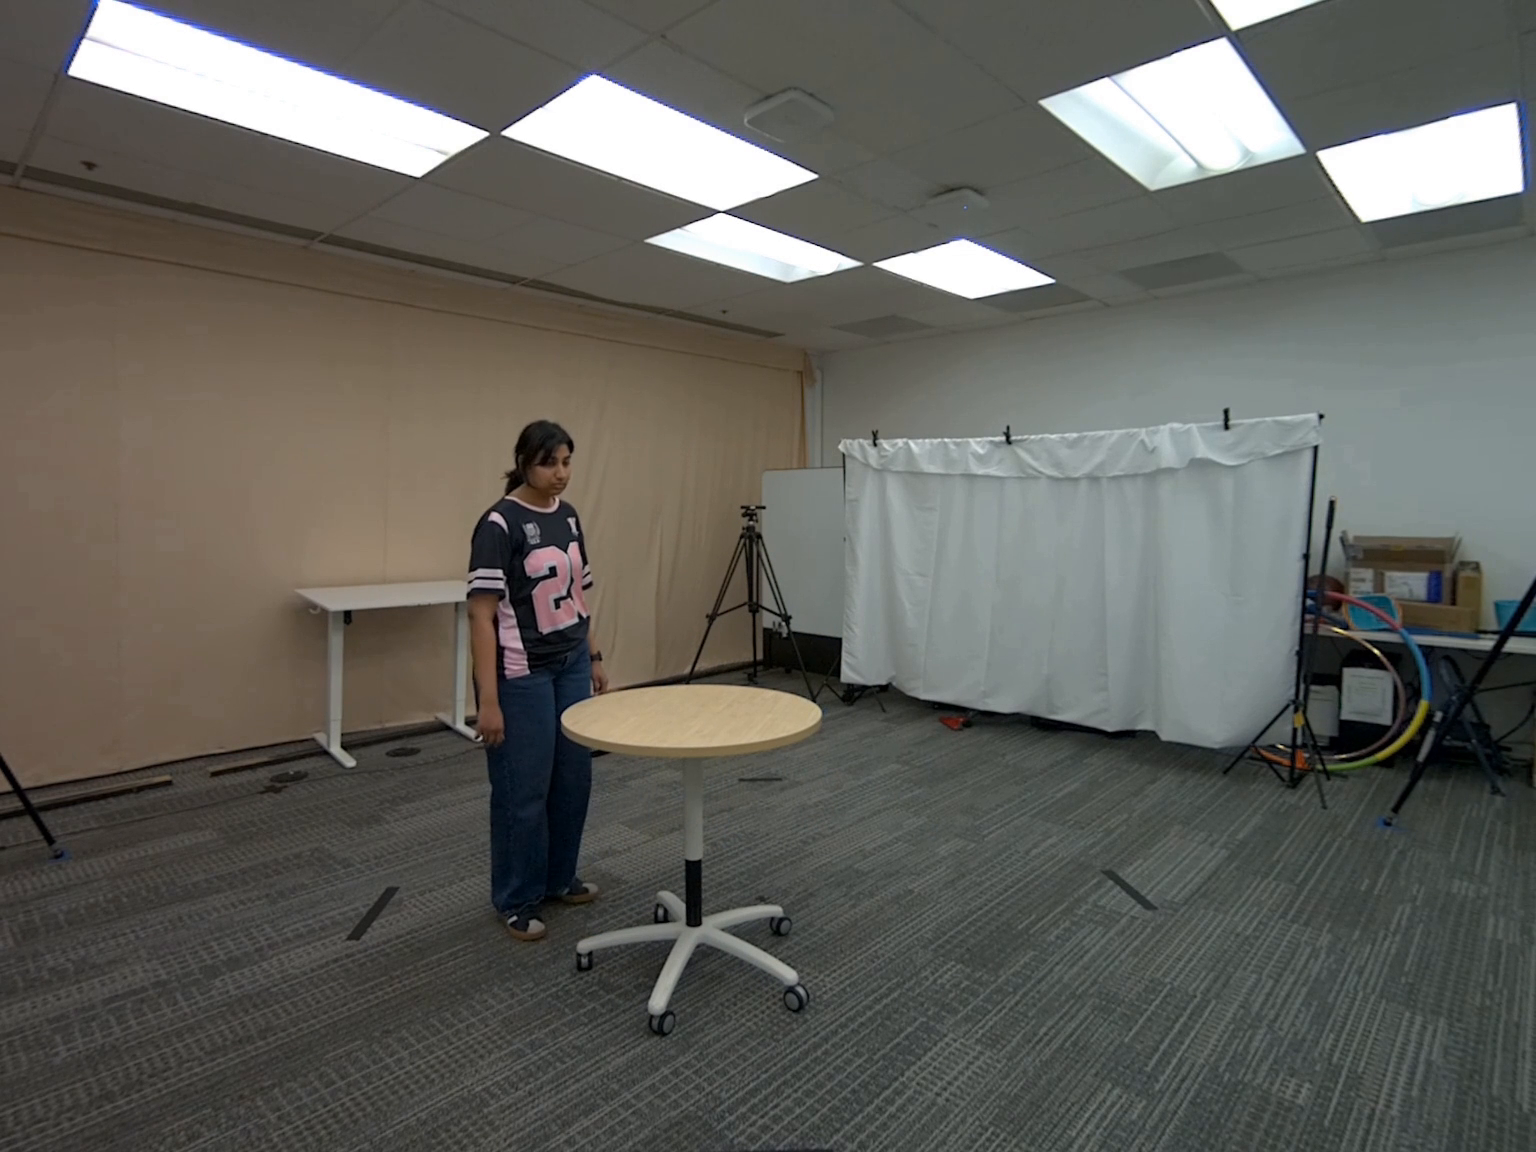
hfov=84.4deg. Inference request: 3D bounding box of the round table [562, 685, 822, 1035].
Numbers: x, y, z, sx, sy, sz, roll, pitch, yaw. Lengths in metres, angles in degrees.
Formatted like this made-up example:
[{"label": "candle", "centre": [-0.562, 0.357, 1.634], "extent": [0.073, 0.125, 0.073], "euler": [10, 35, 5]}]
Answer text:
[{"label": "round table", "centre": [-0.214, 0.799, 2.506], "extent": [0.763, 0.792, 0.766], "euler": [-1, 3, -2]}]
